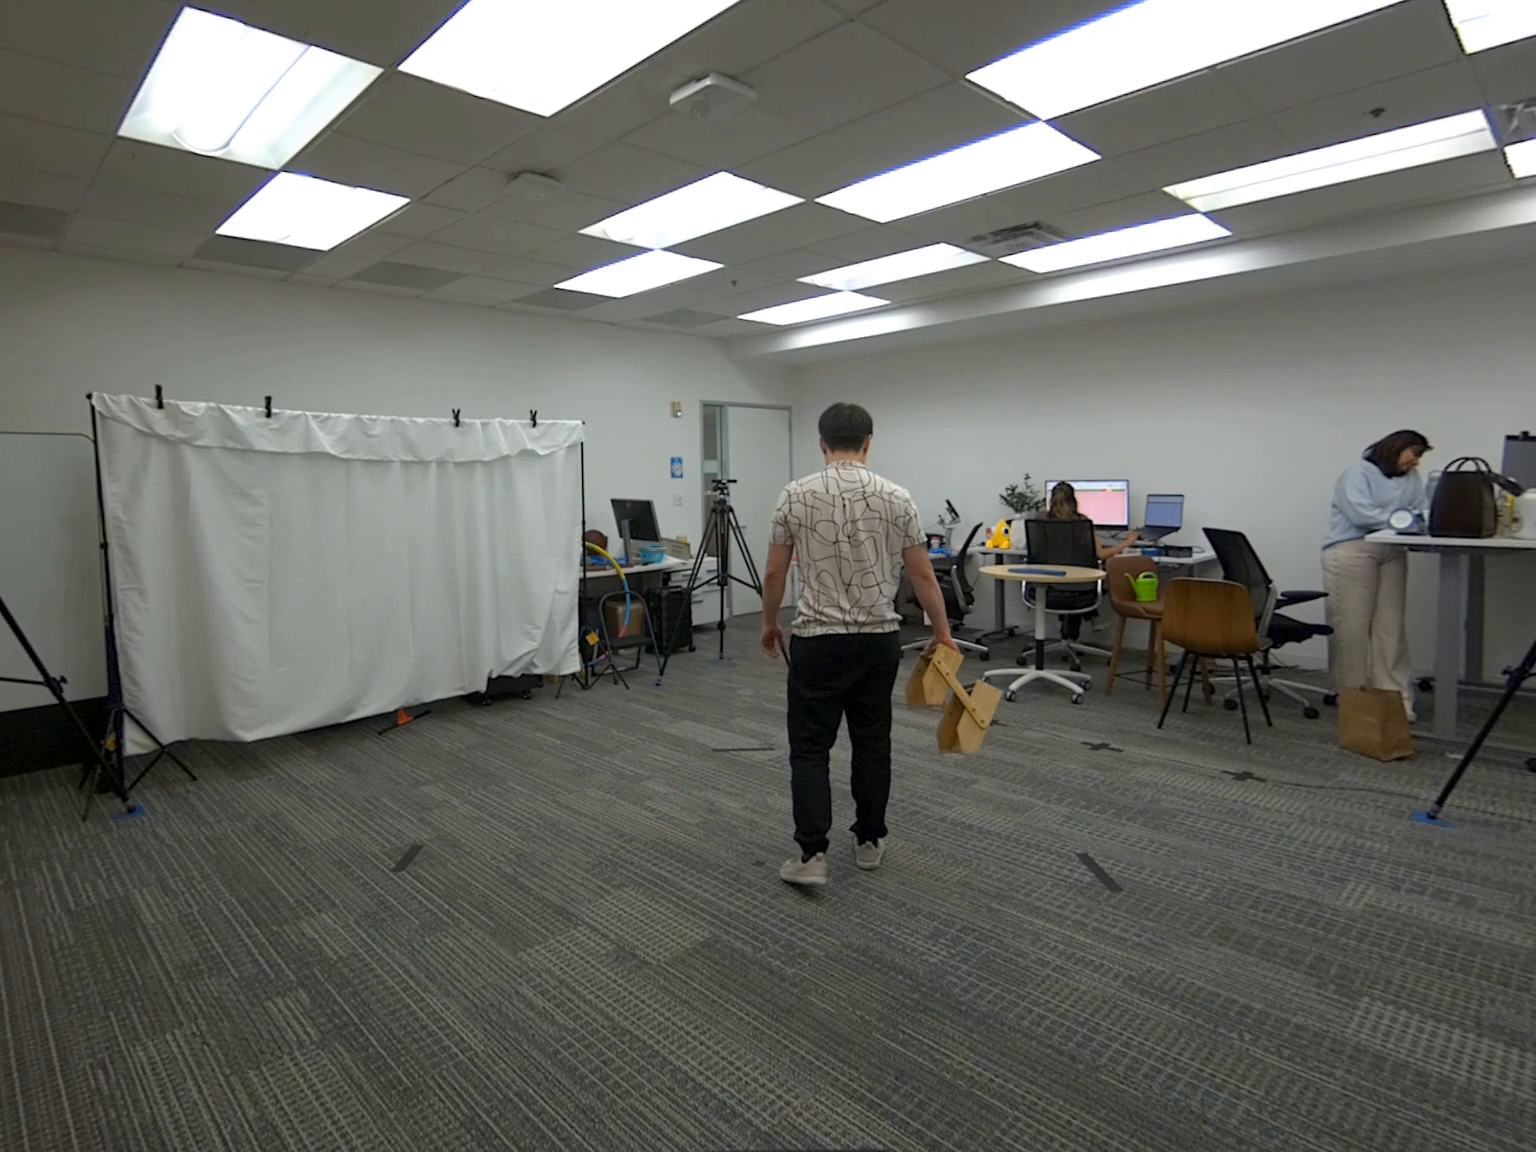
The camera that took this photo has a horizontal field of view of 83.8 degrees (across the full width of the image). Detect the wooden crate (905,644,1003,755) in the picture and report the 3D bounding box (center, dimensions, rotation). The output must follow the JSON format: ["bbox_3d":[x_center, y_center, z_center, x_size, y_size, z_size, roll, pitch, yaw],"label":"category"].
[{"bbox_3d":[0.620,0.447,3.063,0.275,0.303,0.321,27,-13,4],"label":"wooden crate"}]
